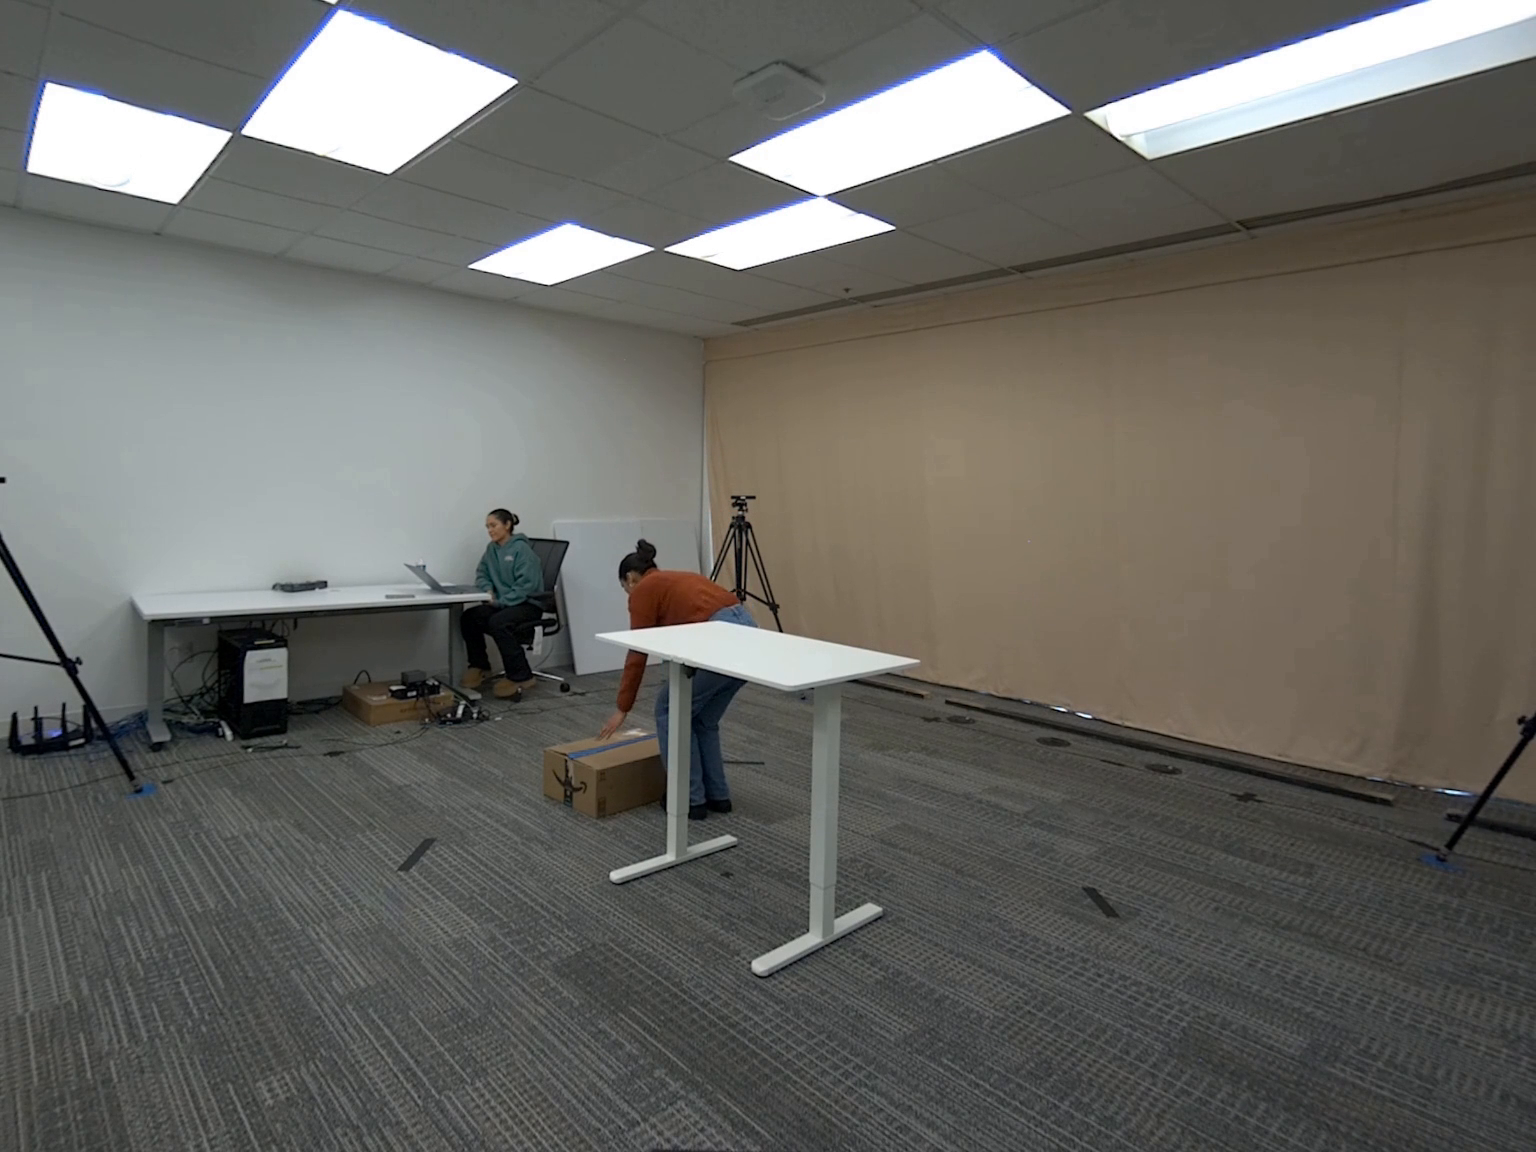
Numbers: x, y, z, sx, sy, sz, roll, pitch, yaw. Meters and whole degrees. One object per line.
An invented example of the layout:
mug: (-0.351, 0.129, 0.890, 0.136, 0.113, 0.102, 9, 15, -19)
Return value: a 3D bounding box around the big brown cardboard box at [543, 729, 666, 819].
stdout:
big brown cardboard box: (-0.703, 0.902, 3.945, 0.428, 0.232, 0.576, 6, 7, 43)
